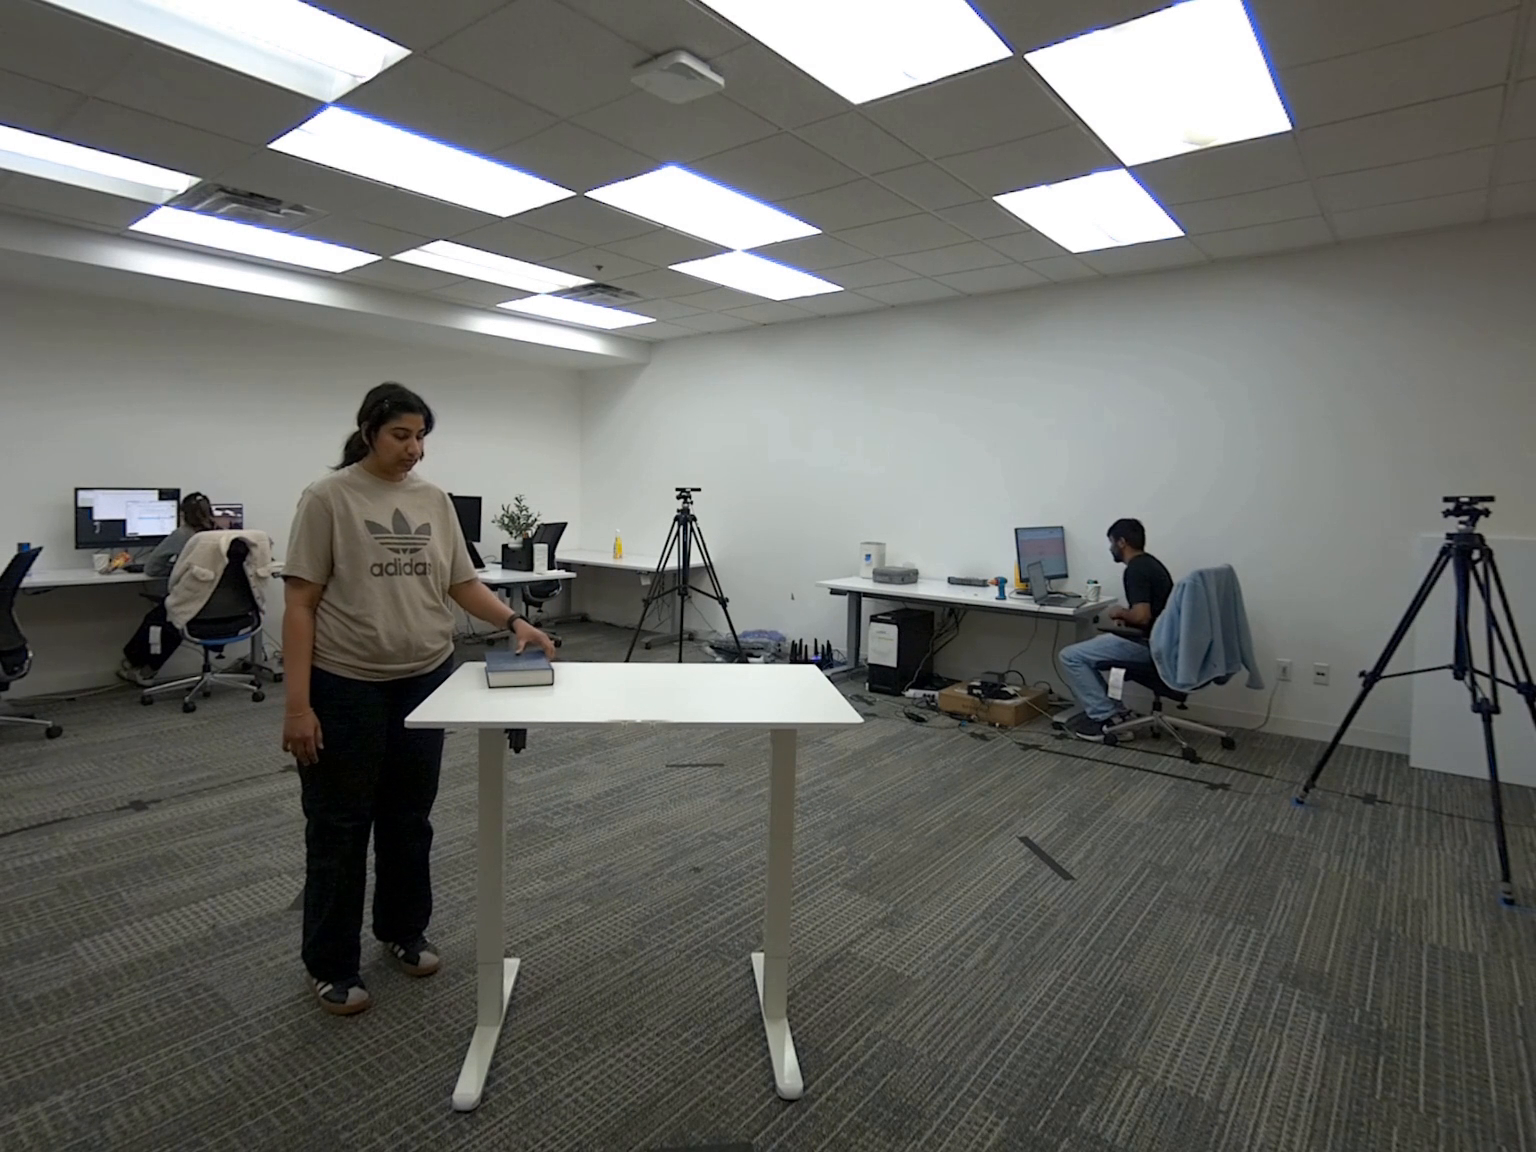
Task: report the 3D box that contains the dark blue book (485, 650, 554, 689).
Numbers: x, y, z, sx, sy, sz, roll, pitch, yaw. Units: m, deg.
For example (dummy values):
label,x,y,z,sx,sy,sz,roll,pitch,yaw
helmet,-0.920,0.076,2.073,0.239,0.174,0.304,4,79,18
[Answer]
label,x,y,z,sx,sy,sz,roll,pitch,yaw
dark blue book,-0.677,0.245,2.239,0.160,0.045,0.251,-1,7,-21
